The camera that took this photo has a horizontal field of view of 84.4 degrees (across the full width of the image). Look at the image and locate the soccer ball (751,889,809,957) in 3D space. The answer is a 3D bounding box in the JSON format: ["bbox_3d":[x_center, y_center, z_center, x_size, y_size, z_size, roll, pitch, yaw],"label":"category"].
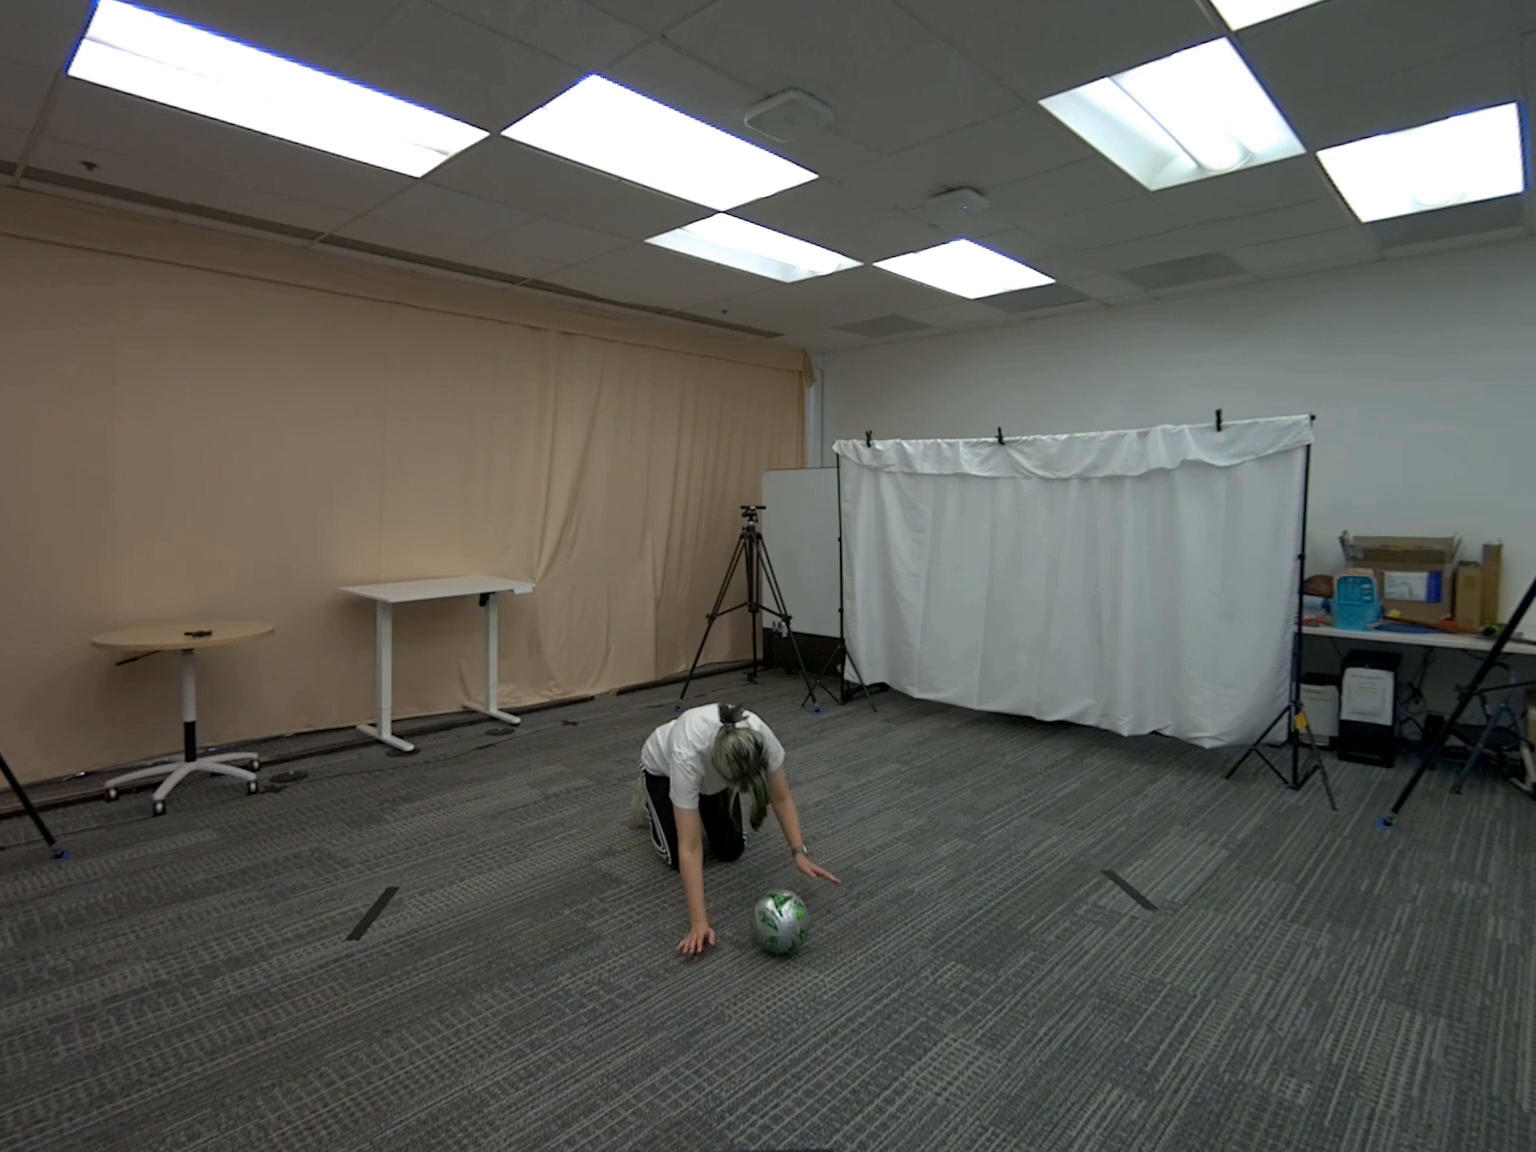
[{"bbox_3d":[0.038,1.080,2.630,0.187,0.187,0.188,0,4,-2],"label":"soccer ball"}]
